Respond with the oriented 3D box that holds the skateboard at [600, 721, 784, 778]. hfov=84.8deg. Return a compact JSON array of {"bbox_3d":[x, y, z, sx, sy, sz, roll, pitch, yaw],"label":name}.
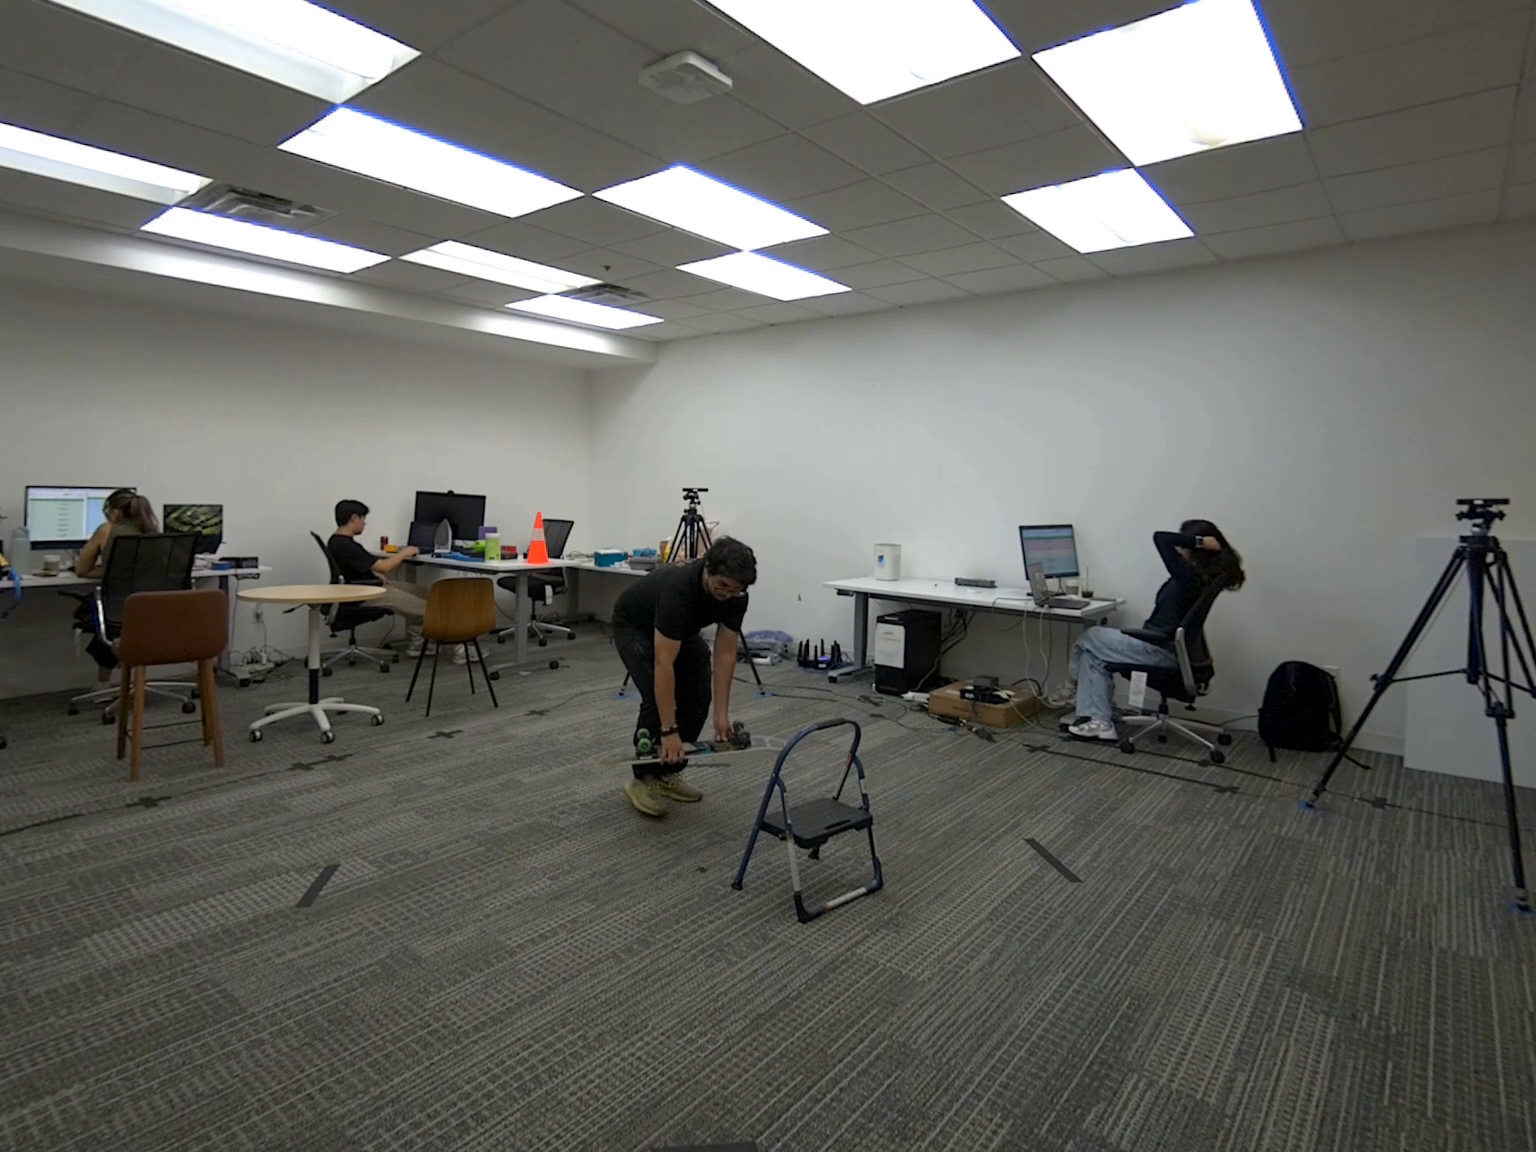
[{"bbox_3d":[-0.320,0.694,3.465,0.780,0.110,0.195,-5,2,-7],"label":"skateboard"}]
